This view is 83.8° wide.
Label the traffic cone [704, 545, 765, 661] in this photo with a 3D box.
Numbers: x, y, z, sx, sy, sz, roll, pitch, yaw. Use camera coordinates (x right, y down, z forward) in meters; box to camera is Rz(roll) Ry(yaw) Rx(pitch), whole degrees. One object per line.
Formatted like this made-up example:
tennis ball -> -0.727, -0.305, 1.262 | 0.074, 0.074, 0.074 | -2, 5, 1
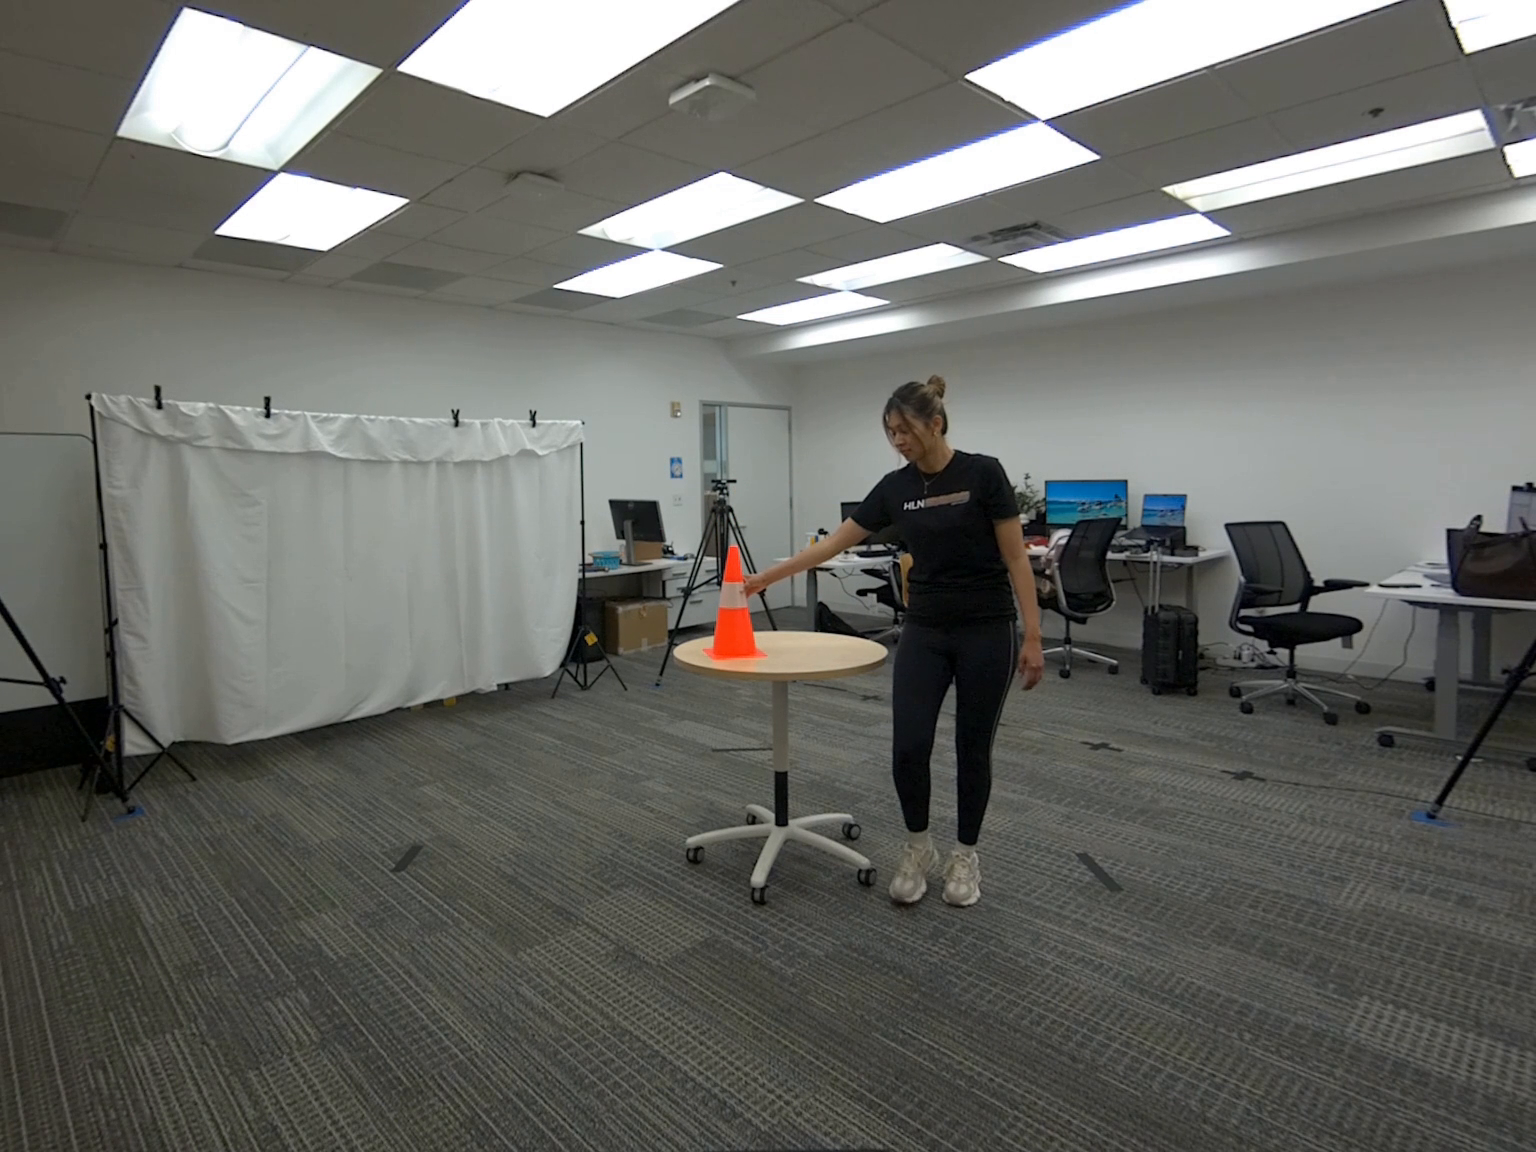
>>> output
traffic cone -> -0.114, 0.086, 3.002 | 0.199, 0.381, 0.211 | -5, 8, -28
